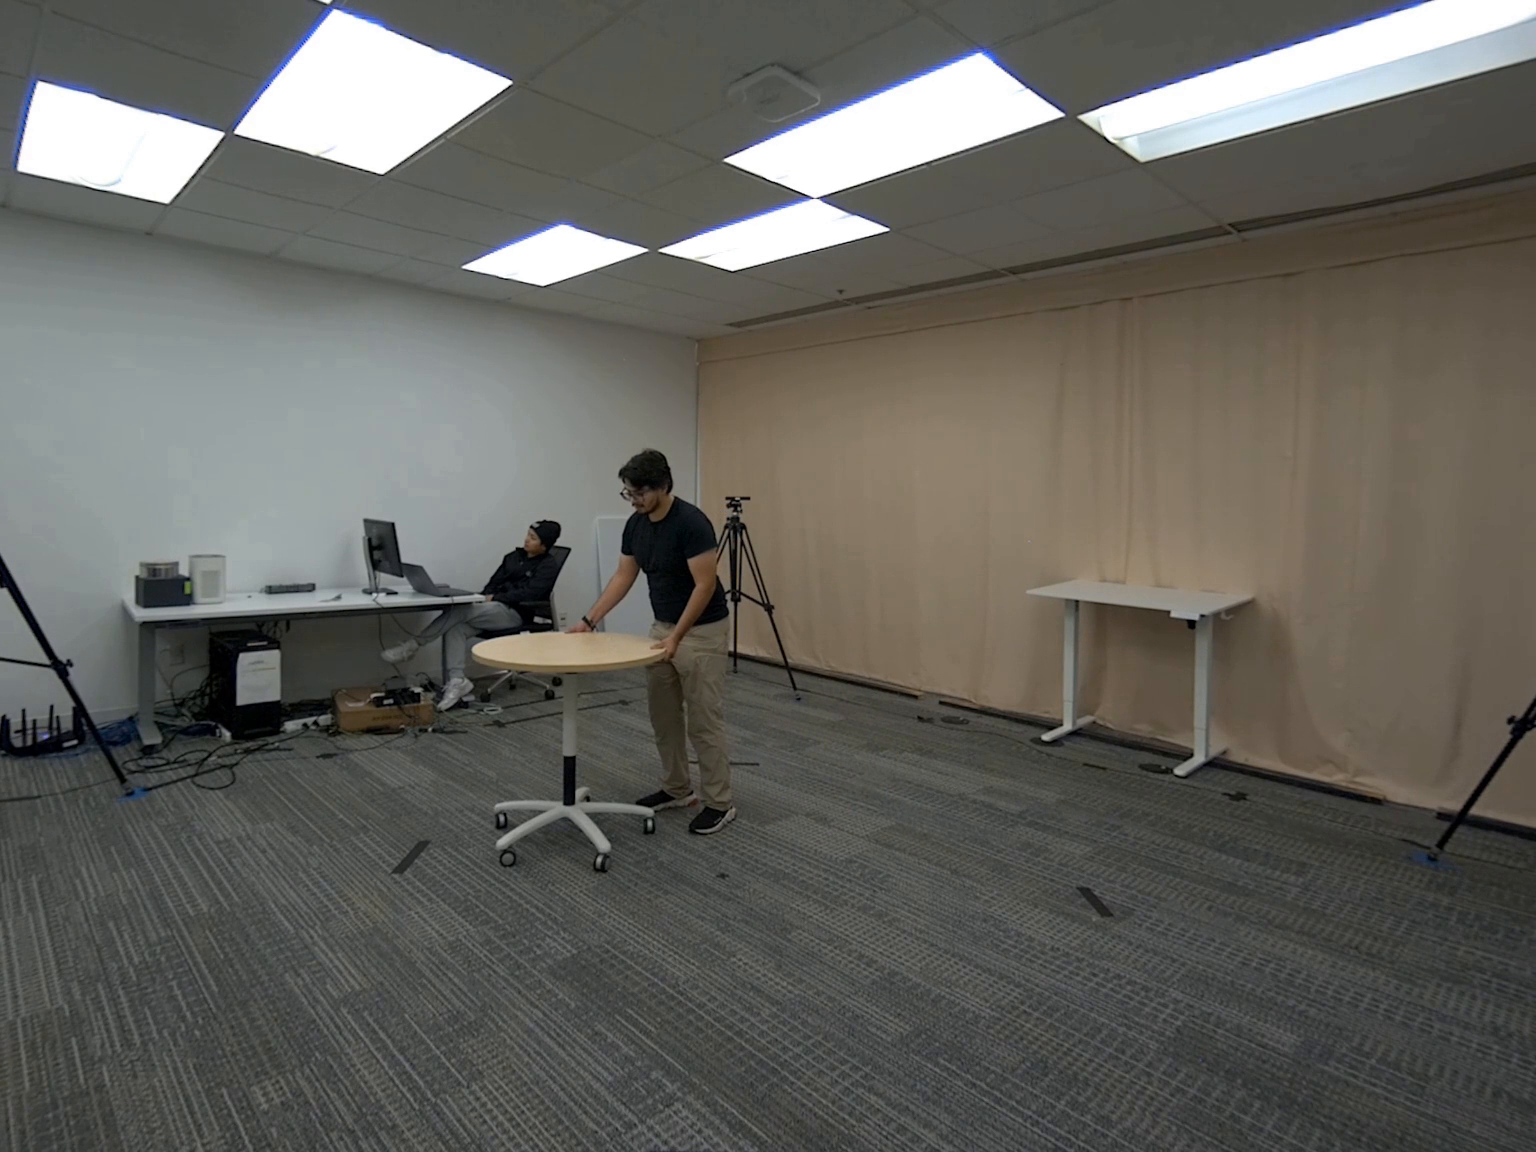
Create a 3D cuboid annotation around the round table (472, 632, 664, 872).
[{"bbox_3d":[-0.818,0.672,3.401,0.784,0.784,0.788,1,4,-1],"label":"round table"}]
